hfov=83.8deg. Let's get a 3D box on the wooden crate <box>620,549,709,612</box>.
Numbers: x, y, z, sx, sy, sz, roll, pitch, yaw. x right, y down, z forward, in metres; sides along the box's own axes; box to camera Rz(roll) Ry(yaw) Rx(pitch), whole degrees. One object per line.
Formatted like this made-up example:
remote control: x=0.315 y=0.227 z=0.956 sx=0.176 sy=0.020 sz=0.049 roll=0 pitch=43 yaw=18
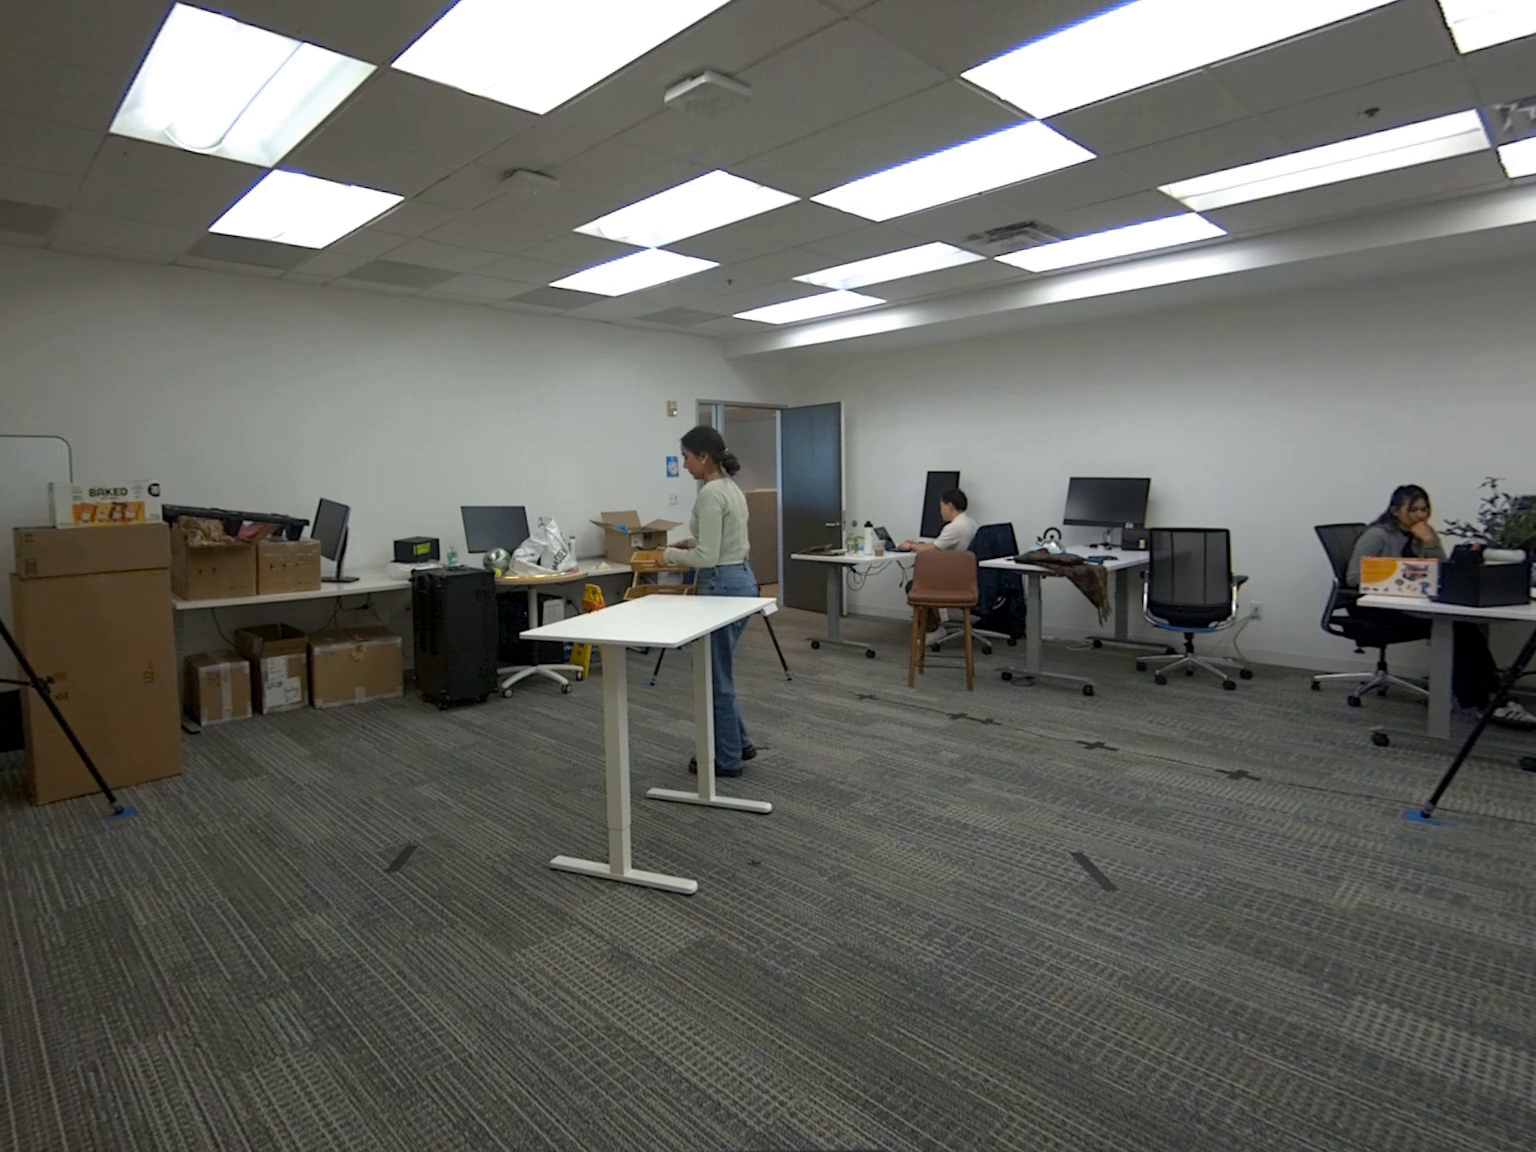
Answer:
wooden crate: x=-0.491 y=0.012 z=4.085 sx=0.330 sy=0.273 sz=0.297 roll=0 pitch=2 yaw=17
